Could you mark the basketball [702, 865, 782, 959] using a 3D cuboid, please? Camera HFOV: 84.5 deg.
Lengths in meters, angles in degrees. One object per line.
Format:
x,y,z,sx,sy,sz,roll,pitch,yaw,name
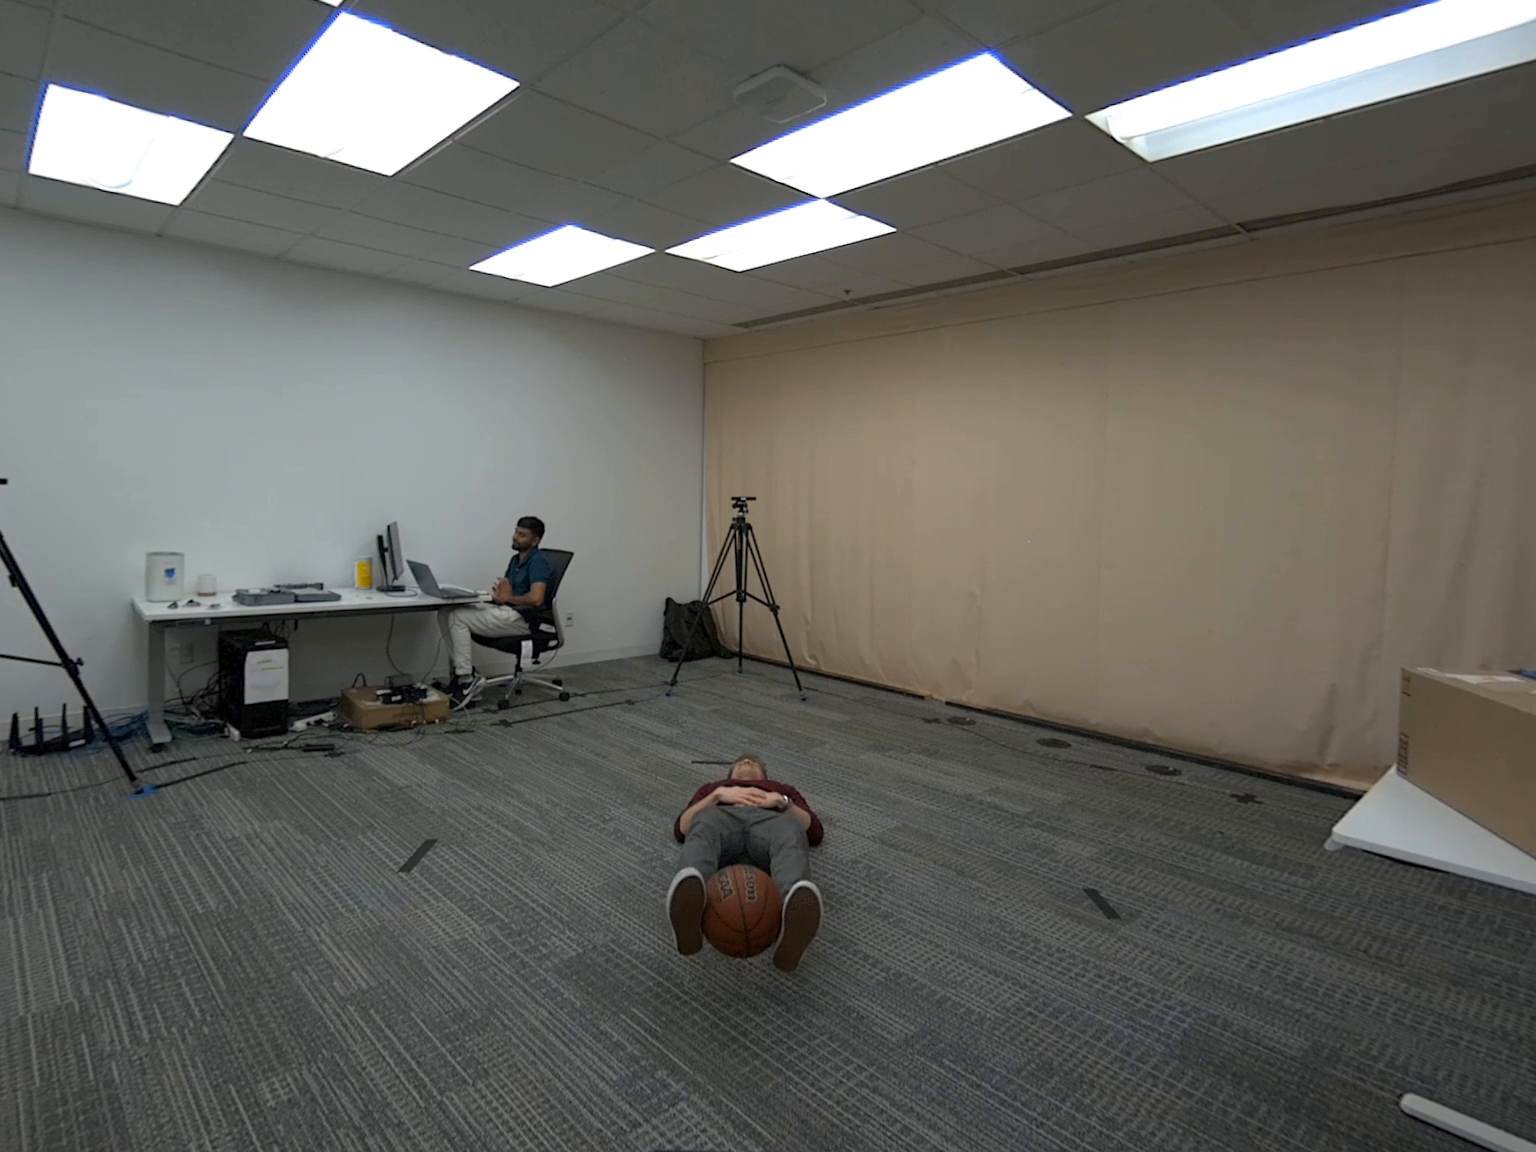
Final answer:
-0.089,0.931,2.335,0.236,0.234,0.237,0,7,-1,basketball
